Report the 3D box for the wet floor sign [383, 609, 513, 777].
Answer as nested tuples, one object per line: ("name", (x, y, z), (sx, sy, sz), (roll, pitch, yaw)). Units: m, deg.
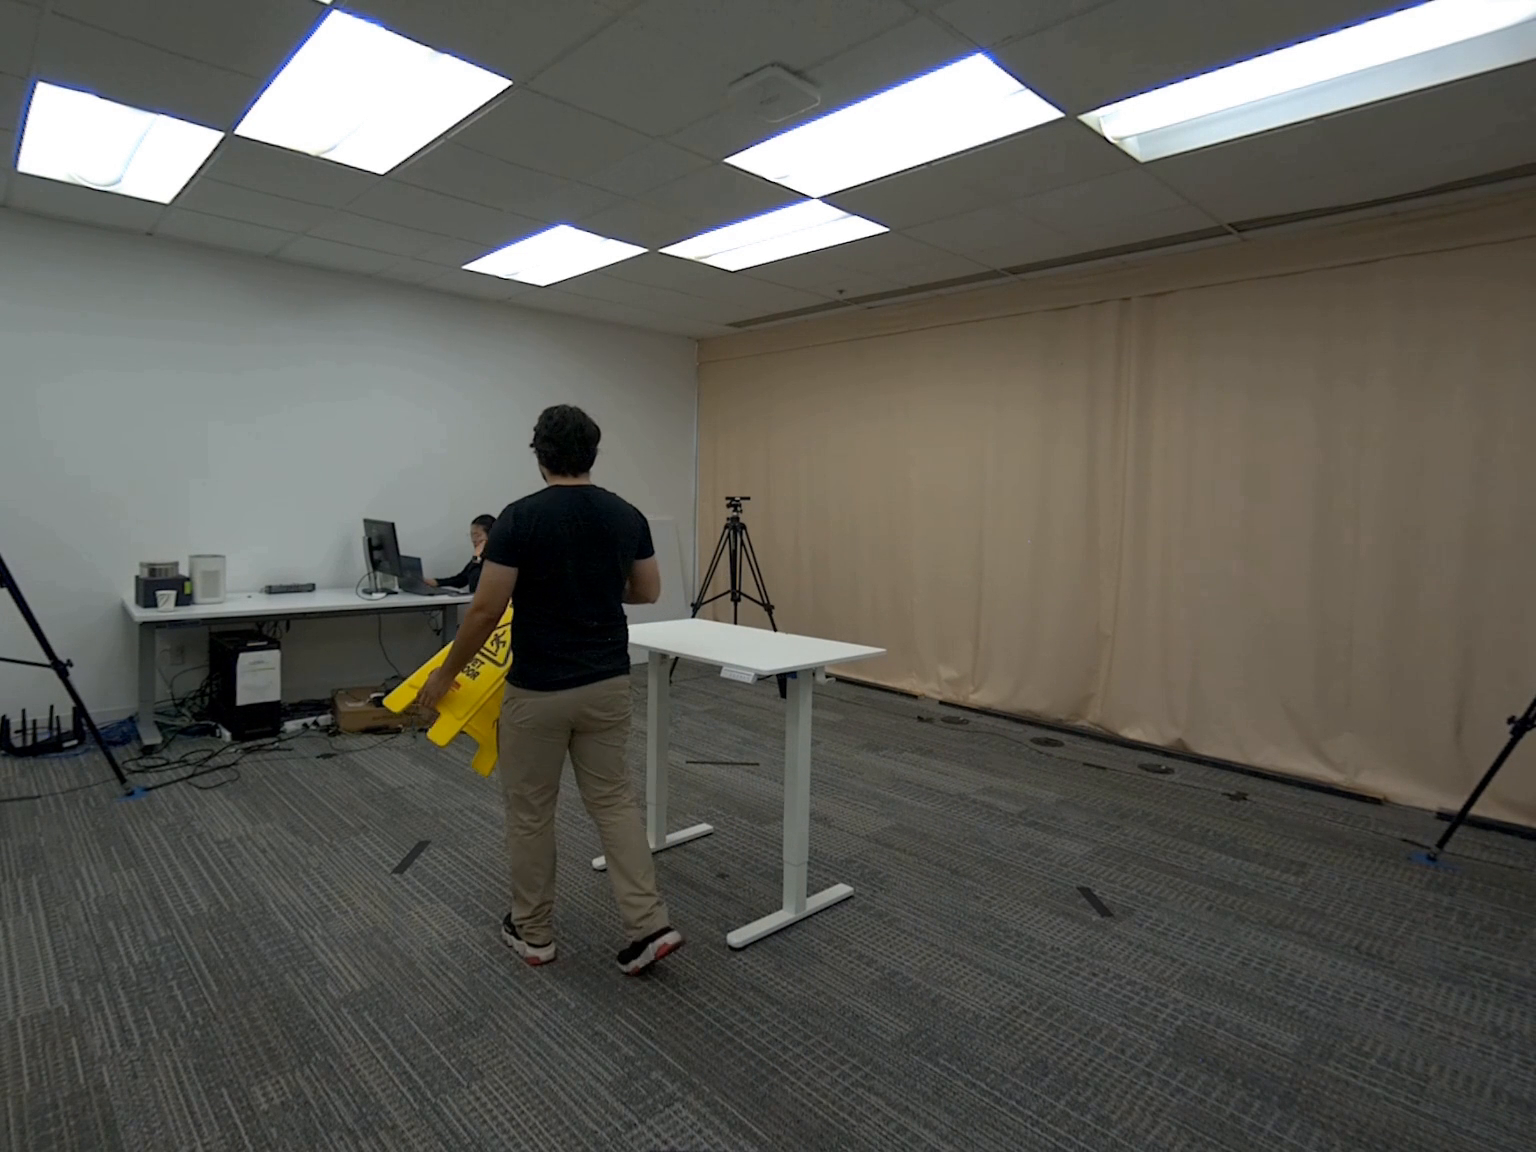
("wet floor sign", (-0.839, 0.257, 2.673), (0.289, 0.648, 0.282), (25, -23, 24))
